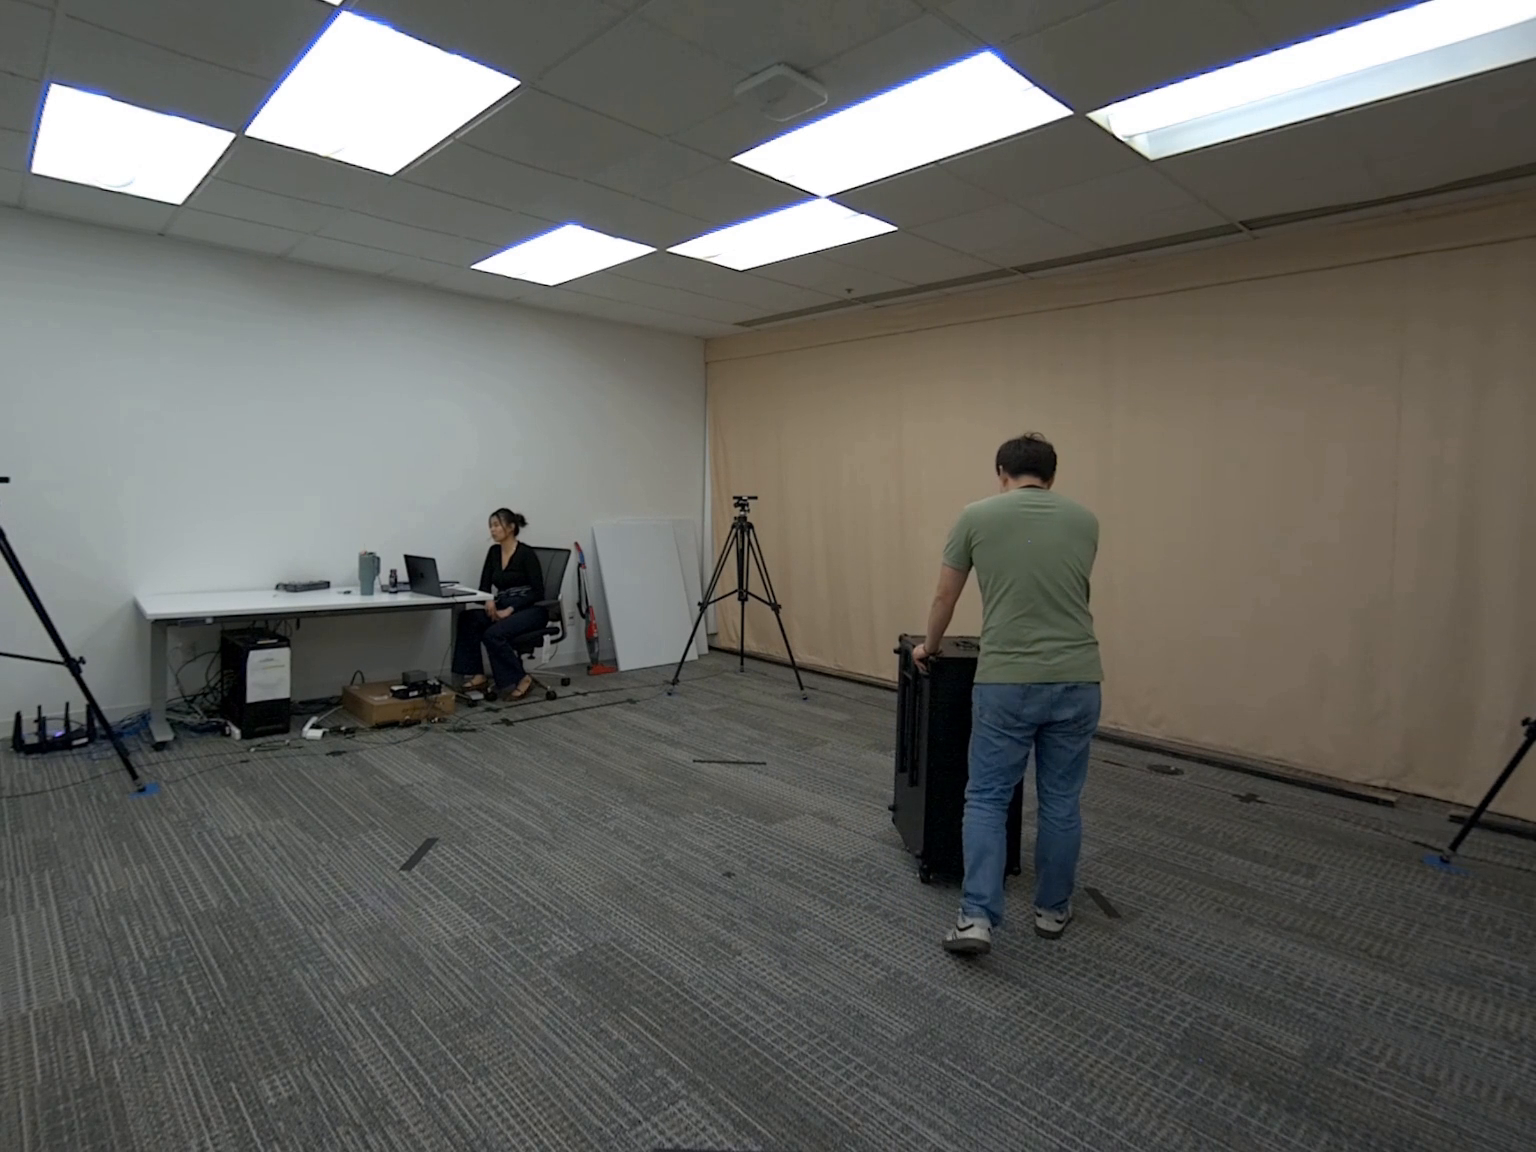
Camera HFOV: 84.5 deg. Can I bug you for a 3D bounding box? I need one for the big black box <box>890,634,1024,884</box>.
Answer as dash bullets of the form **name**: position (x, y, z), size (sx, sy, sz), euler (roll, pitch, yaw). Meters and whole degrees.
- **big black box**: position (0.703, 0.694, 3.222), size (0.395, 0.859, 0.524), euler (1, 3, -4)
